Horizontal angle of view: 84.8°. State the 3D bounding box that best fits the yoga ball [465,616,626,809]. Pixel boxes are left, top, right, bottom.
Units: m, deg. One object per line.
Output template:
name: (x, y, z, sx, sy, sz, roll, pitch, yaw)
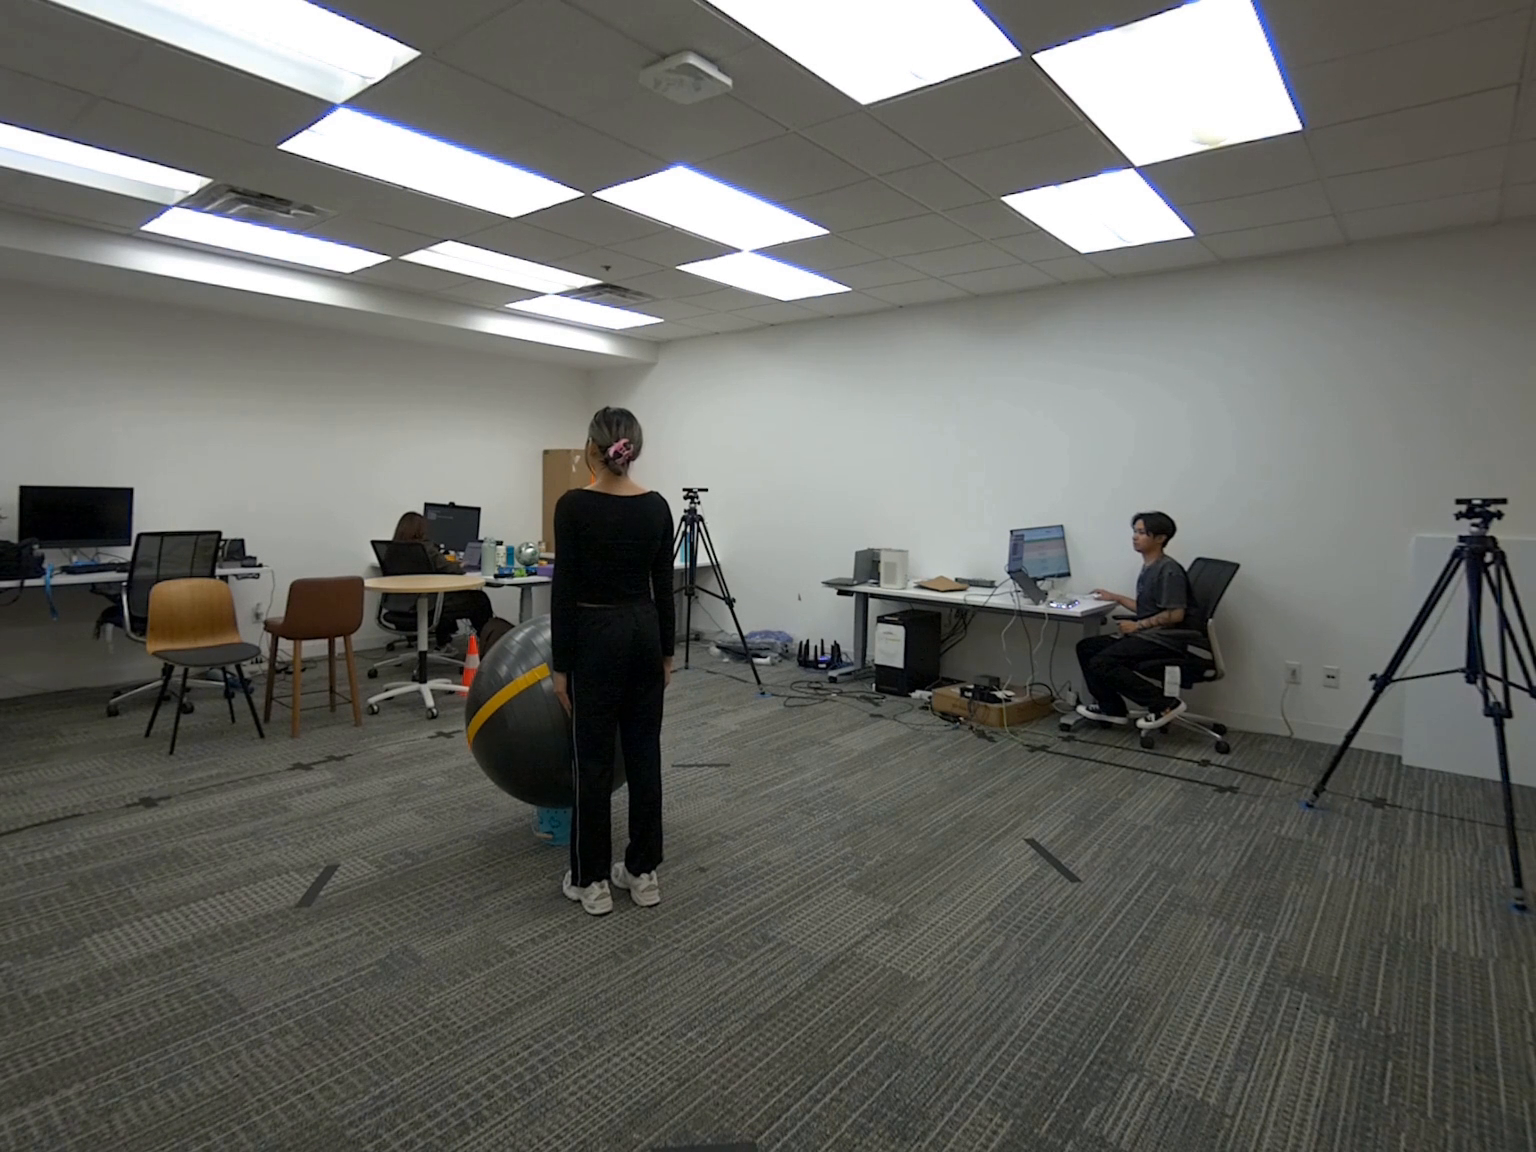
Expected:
yoga ball: (-0.818, 0.522, 3.367, 0.757, 0.755, 0.762, 1, 4, -2)
